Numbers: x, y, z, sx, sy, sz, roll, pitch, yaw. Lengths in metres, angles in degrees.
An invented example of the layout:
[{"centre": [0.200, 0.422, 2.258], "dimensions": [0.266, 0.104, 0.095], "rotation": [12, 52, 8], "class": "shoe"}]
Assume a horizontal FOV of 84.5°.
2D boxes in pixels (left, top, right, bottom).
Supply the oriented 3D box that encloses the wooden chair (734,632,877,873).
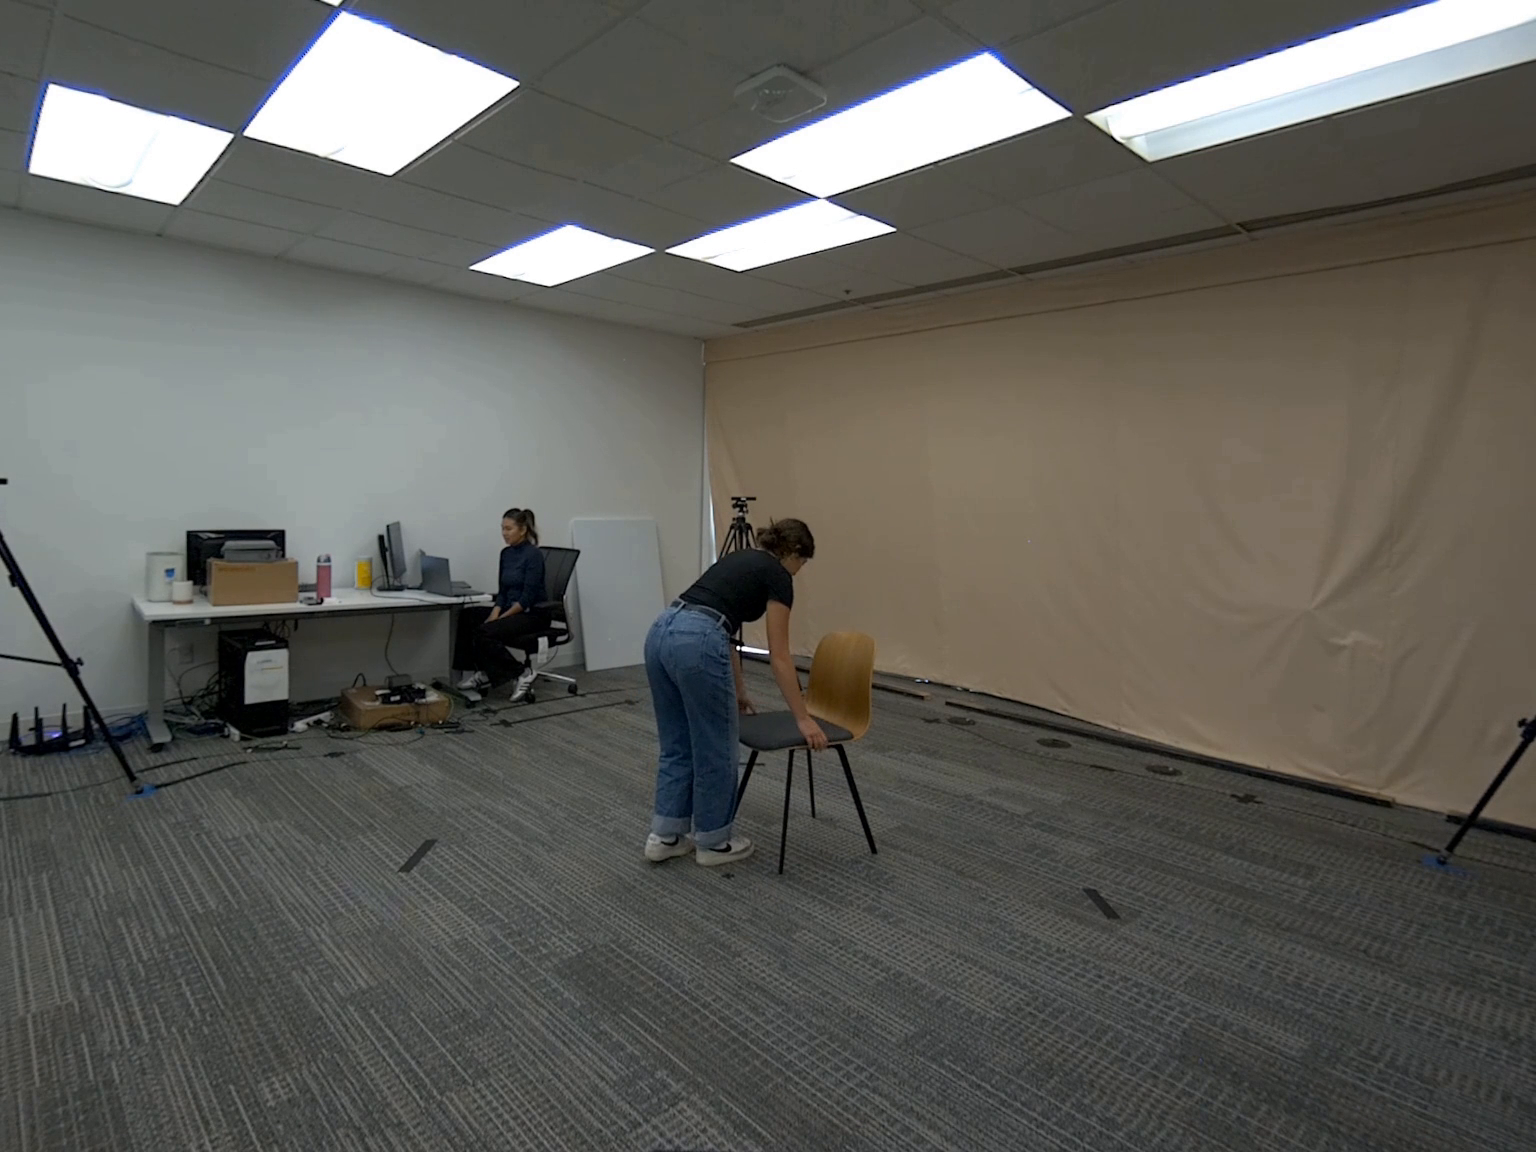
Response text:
[{"centre": [0.119, 0.658, 3.387], "dimensions": [0.512, 0.877, 0.489], "rotation": [5, 1, -30], "class": "wooden chair"}]
